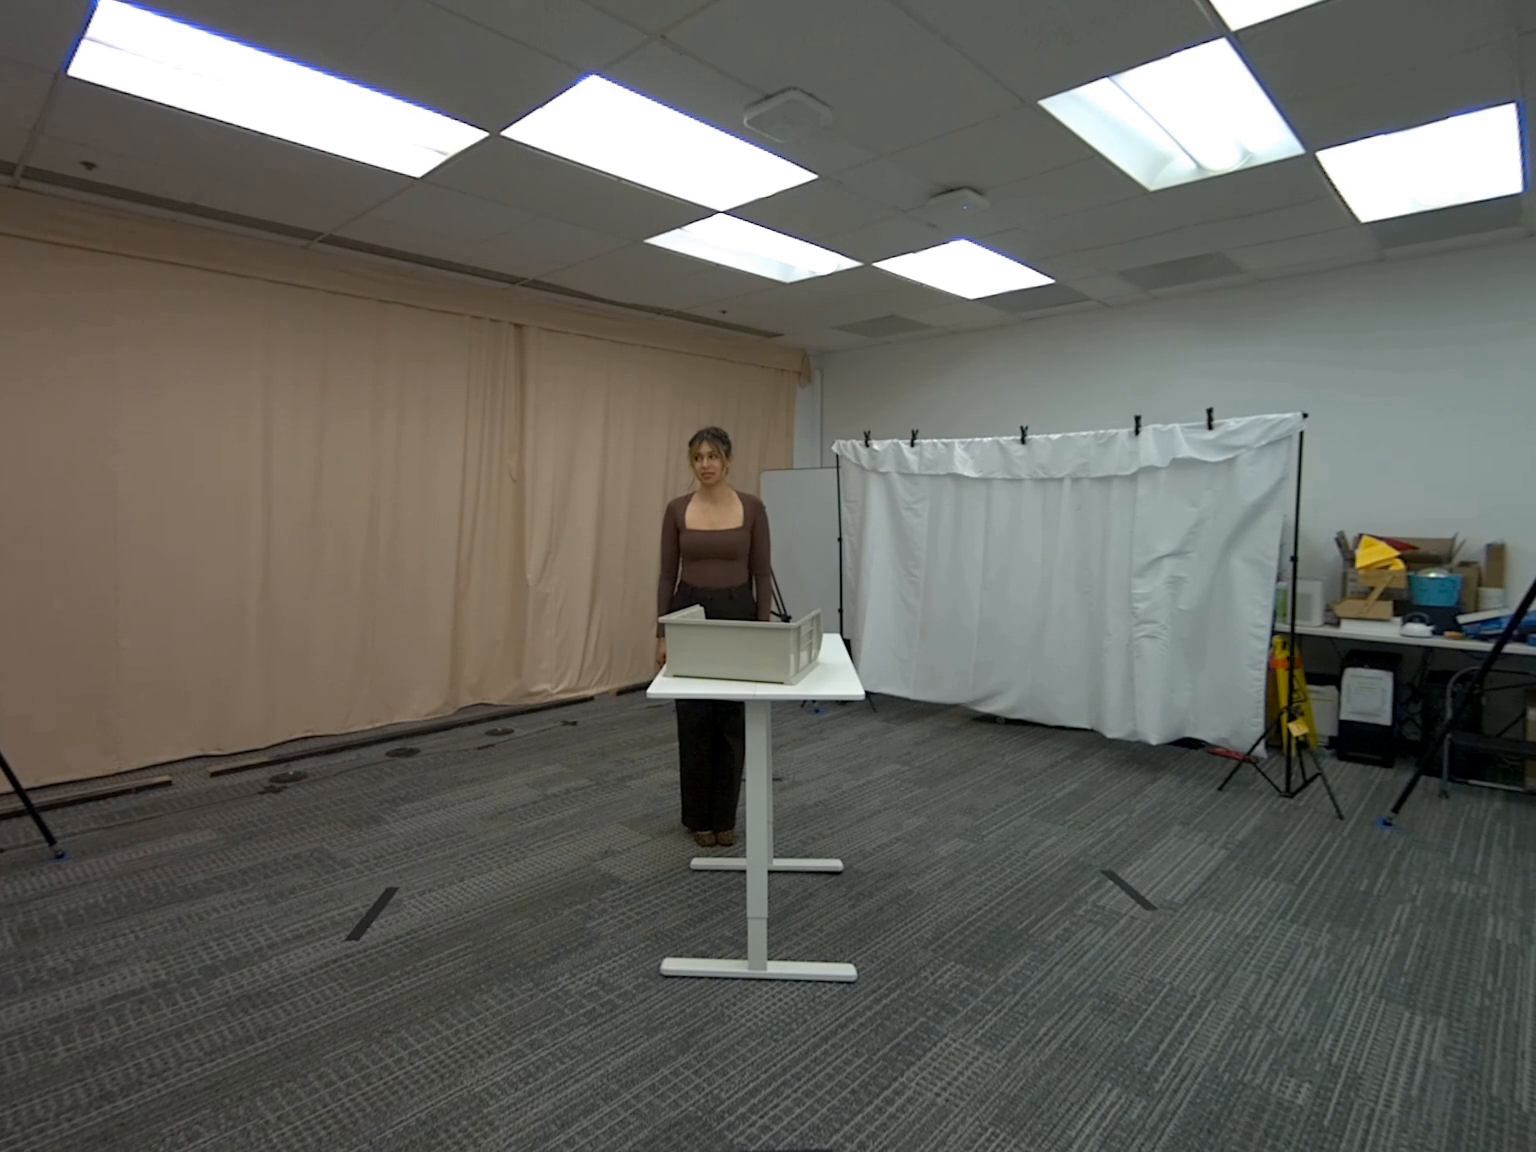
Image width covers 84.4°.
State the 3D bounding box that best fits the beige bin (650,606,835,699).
[{"bbox_3d":[-0.069,0.206,2.630,0.431,0.188,0.371,1,6,18],"label":"beige bin"}]
